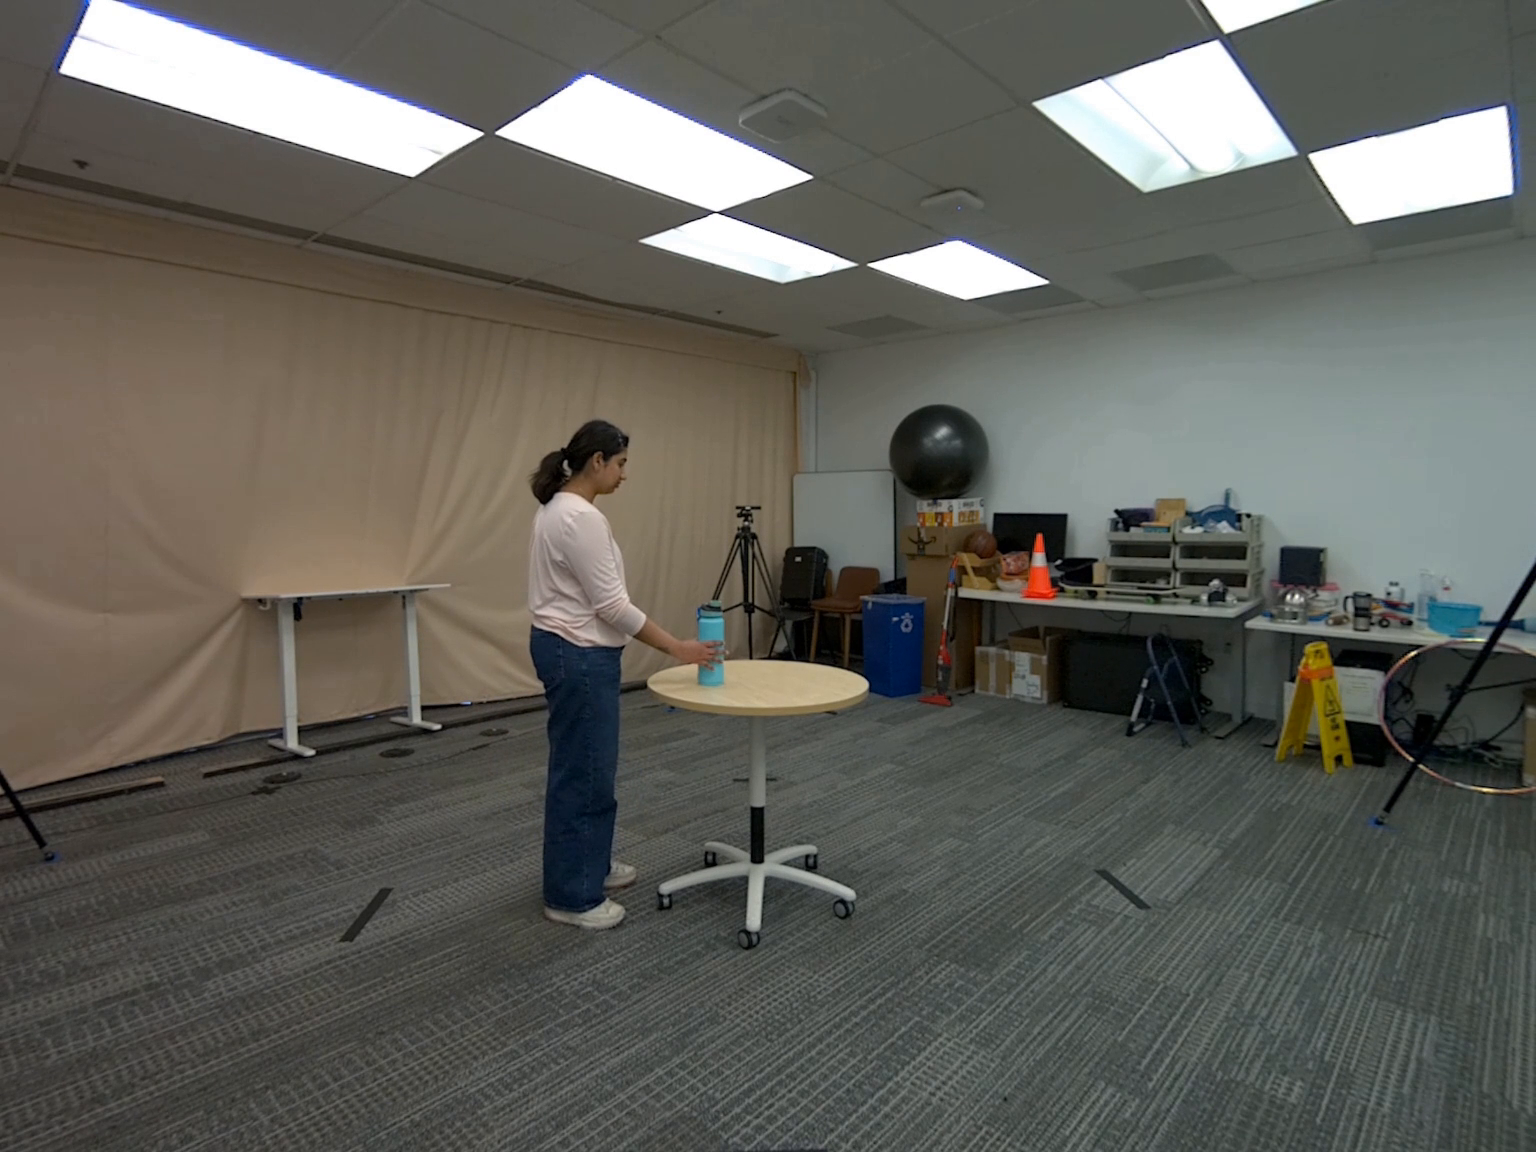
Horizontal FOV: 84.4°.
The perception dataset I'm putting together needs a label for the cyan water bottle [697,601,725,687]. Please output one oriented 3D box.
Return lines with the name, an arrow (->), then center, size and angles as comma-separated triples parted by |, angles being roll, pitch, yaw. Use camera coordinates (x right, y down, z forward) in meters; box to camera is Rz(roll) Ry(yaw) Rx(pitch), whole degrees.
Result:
cyan water bottle -> -0.198, 0.229, 2.873 | 0.092, 0.283, 0.092 | -1, 3, -2
